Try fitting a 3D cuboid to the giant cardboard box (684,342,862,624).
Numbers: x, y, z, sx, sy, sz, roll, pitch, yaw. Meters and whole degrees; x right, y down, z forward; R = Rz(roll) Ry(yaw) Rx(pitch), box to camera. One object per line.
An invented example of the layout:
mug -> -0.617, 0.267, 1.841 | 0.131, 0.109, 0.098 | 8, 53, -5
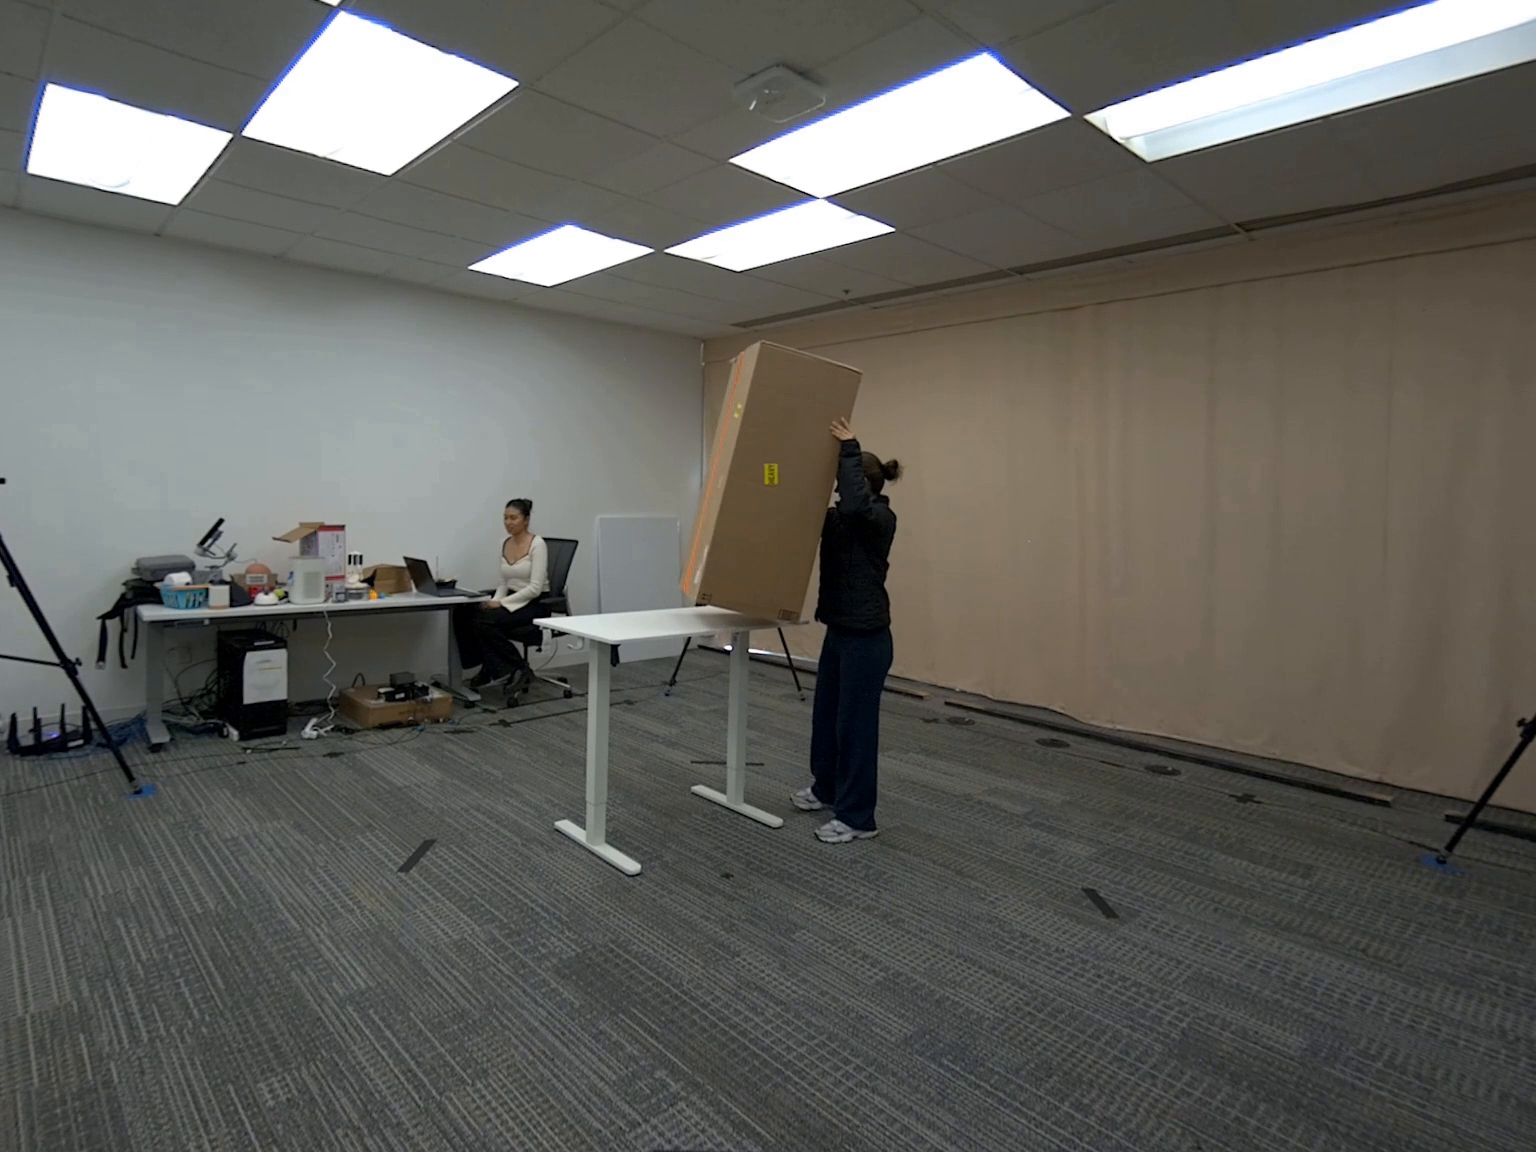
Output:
giant cardboard box -> -0.027, -0.374, 3.488 | 0.442, 1.026, 0.591 | 13, 2, -13
